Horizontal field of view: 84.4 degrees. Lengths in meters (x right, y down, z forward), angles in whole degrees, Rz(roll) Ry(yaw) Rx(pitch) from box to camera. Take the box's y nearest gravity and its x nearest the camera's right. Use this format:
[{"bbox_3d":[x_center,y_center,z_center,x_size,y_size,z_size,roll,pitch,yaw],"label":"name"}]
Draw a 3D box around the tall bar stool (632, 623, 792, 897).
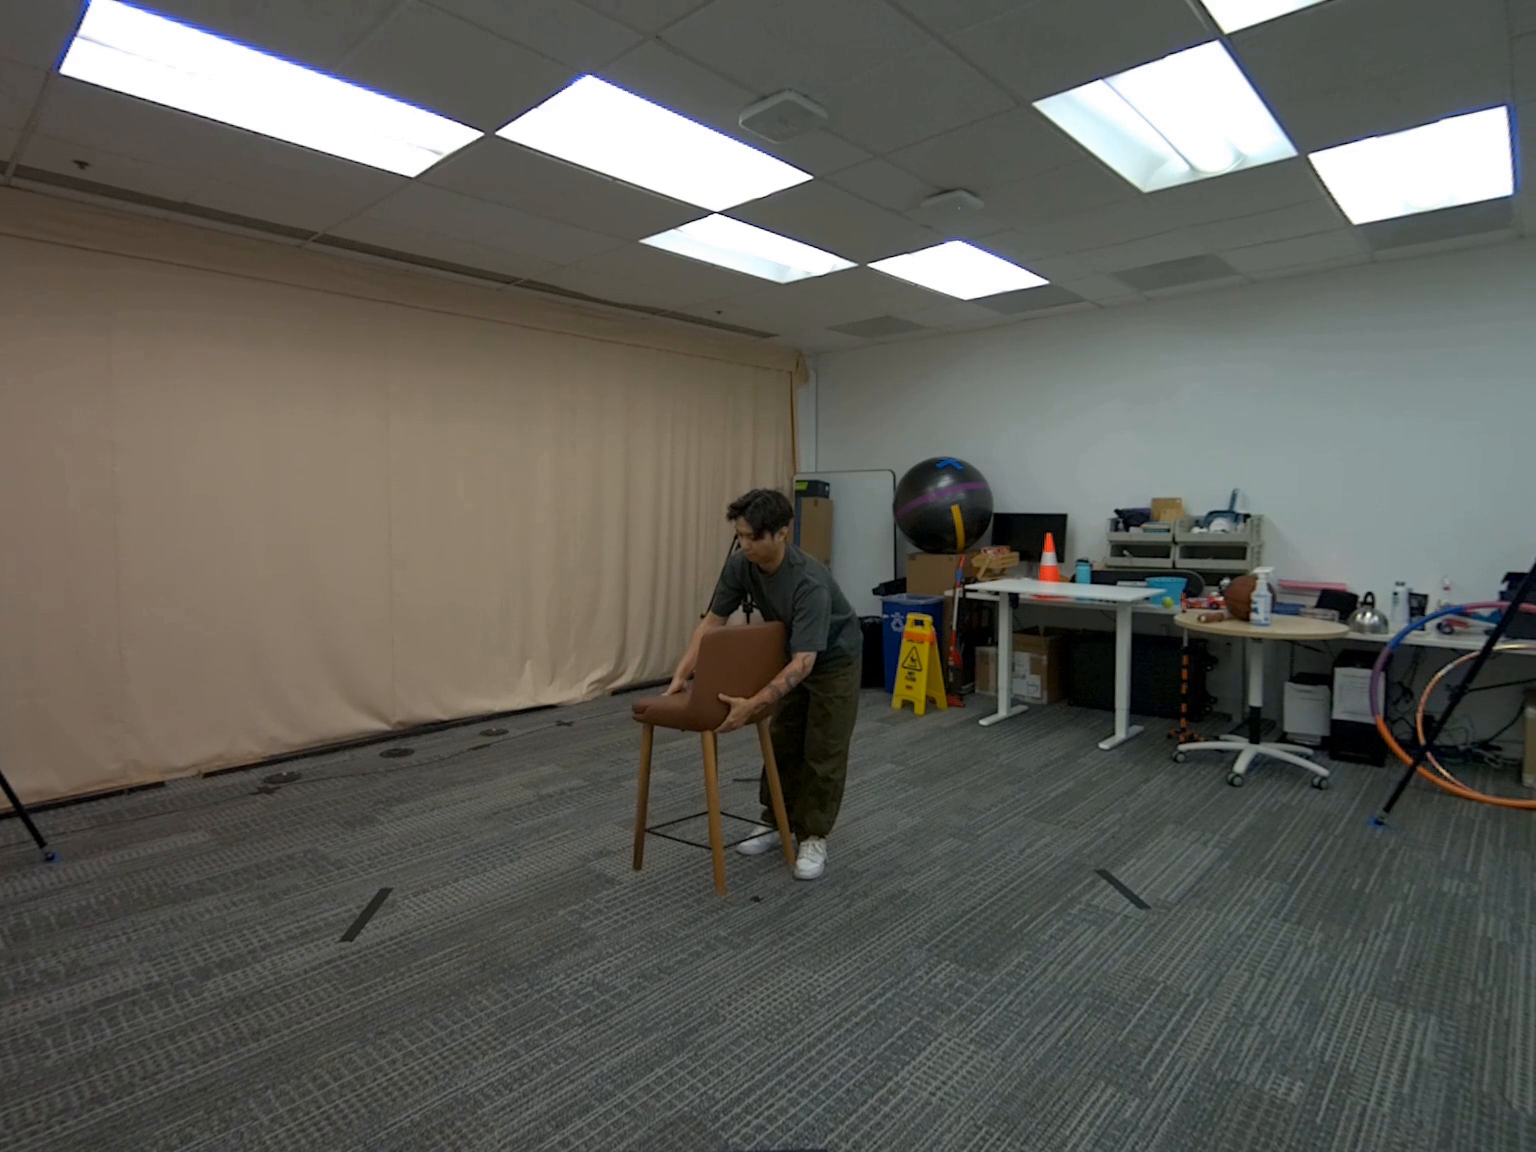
[{"bbox_3d":[-0.209,0.617,3.022,0.482,0.891,0.442,-4,-2,45],"label":"tall bar stool"}]
